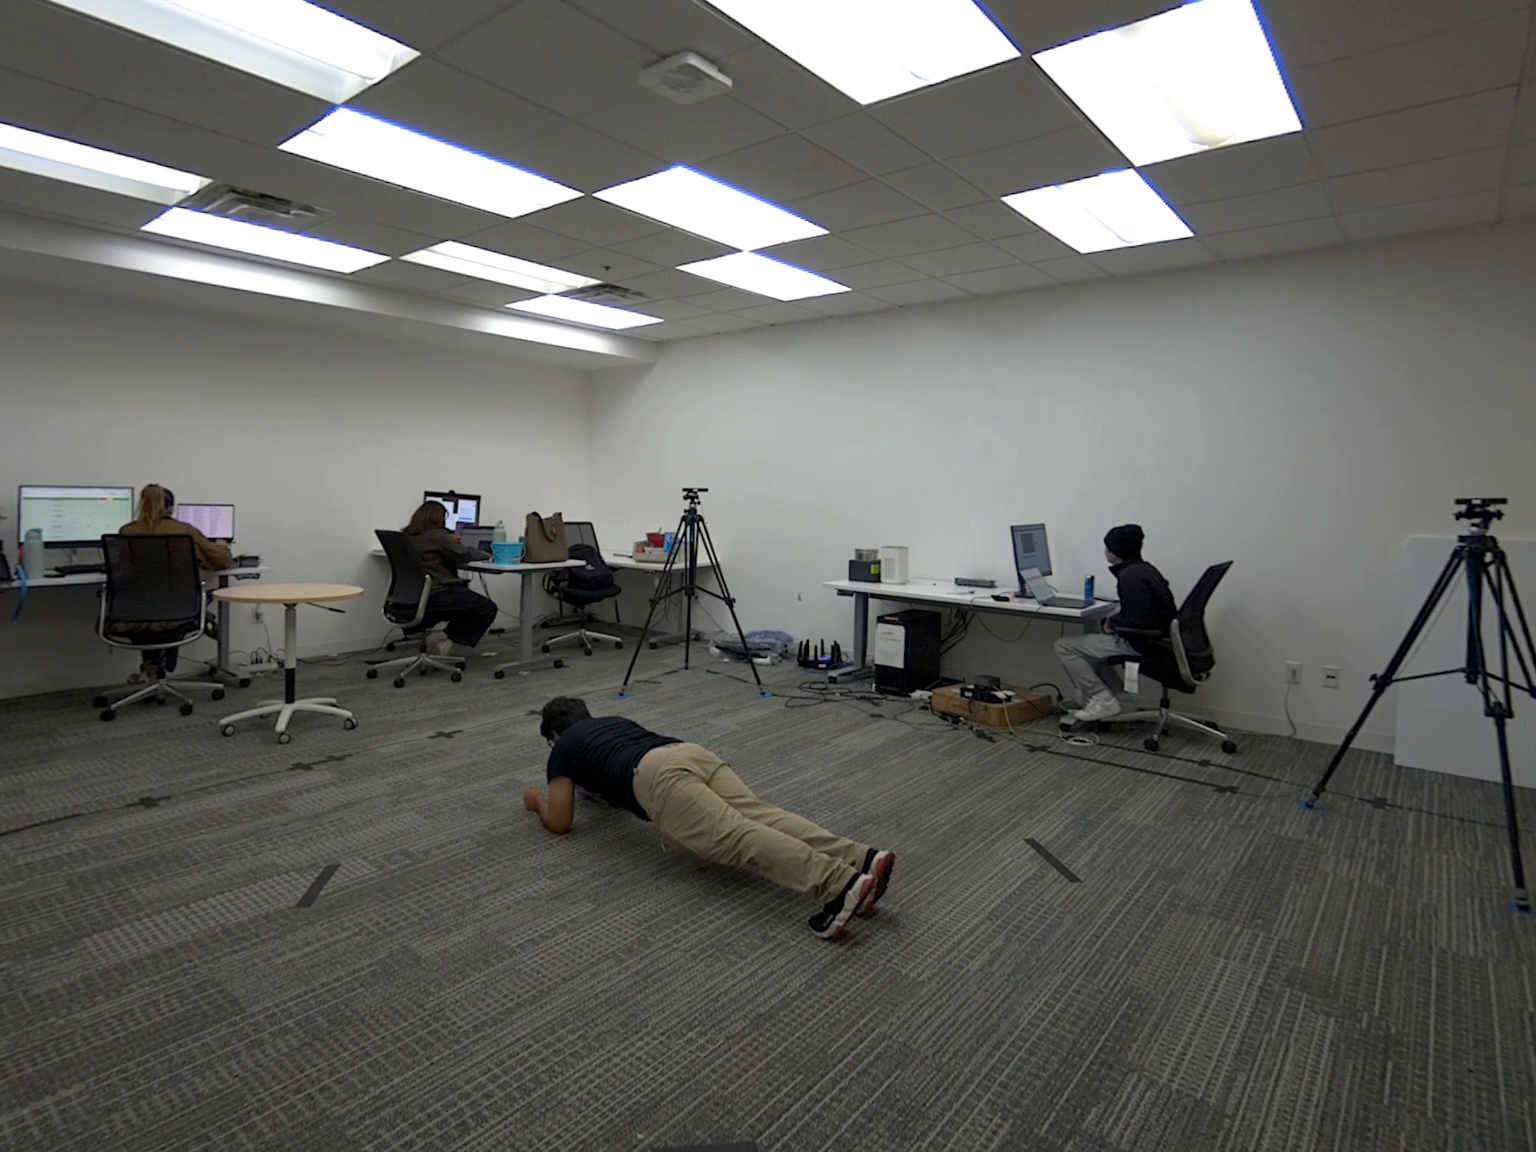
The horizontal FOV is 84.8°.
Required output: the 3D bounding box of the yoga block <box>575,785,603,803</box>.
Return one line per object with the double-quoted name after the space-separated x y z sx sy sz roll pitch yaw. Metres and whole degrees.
-0.760 0.887 3.763 0.236 0.149 0.074 -4 -1 44 "yoga block"
